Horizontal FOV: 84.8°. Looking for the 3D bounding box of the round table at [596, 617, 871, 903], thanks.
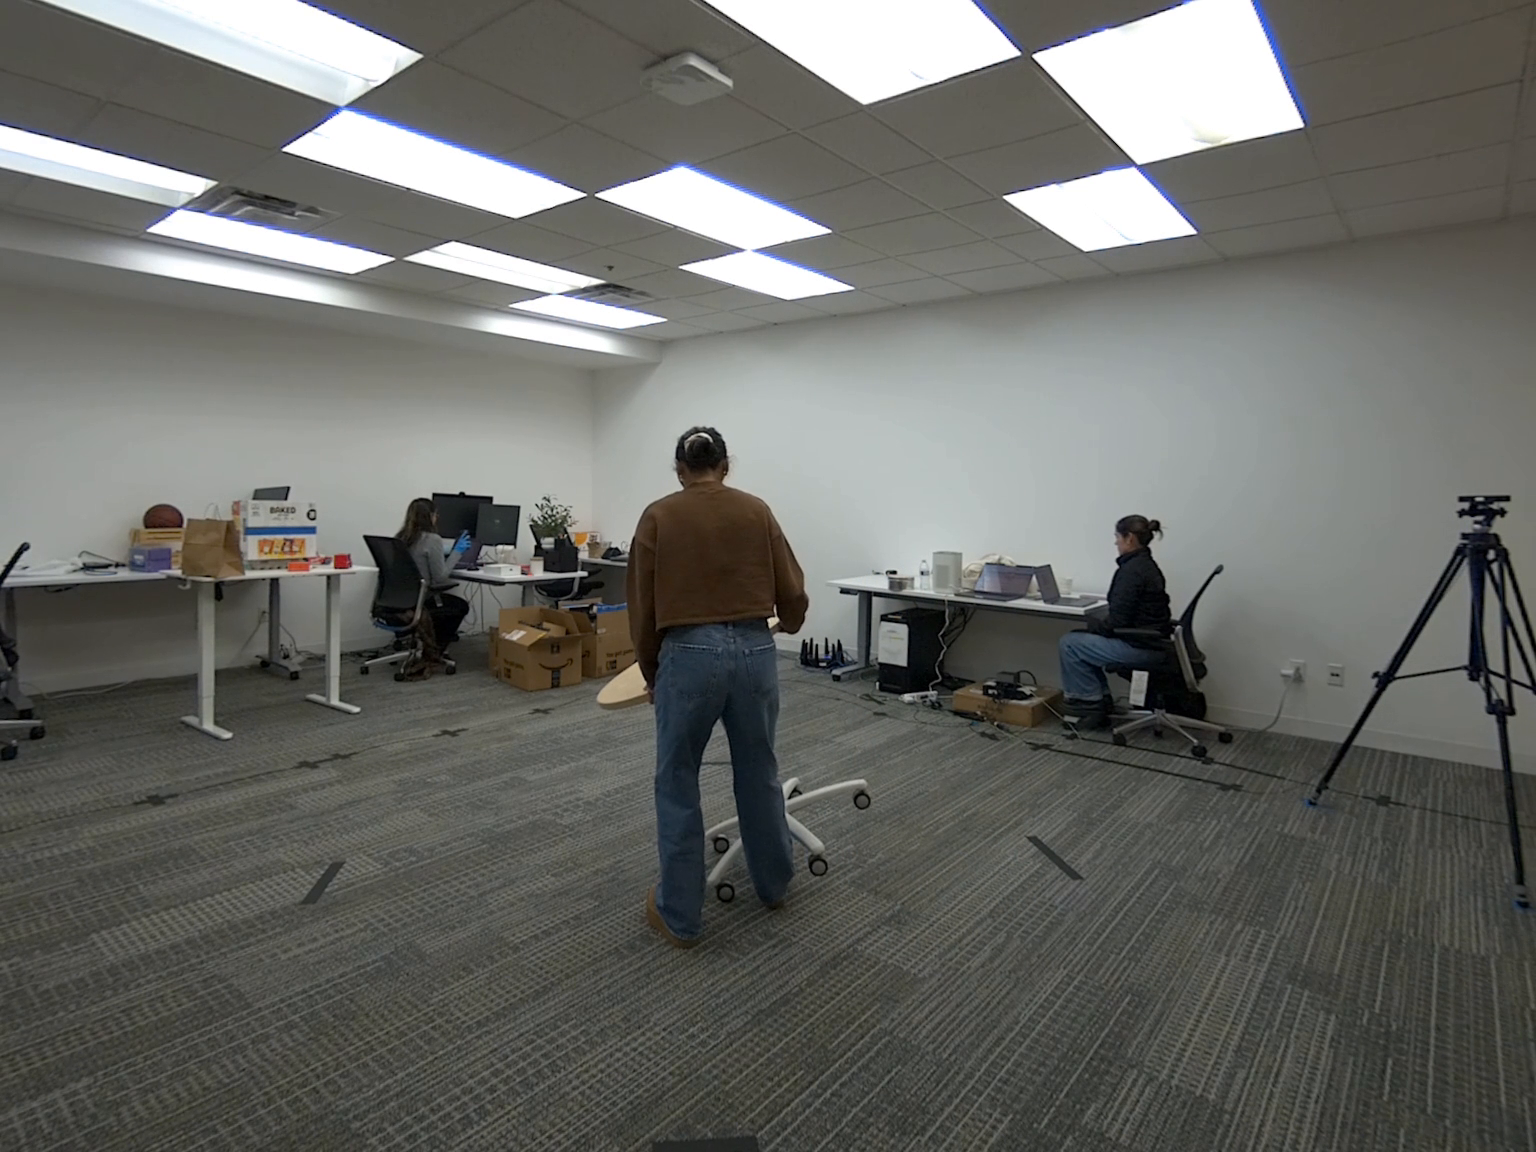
[{"bbox_3d":[-0.099,0.611,3.052,0.764,0.790,0.768,-25,5,0],"label":"round table"}]
